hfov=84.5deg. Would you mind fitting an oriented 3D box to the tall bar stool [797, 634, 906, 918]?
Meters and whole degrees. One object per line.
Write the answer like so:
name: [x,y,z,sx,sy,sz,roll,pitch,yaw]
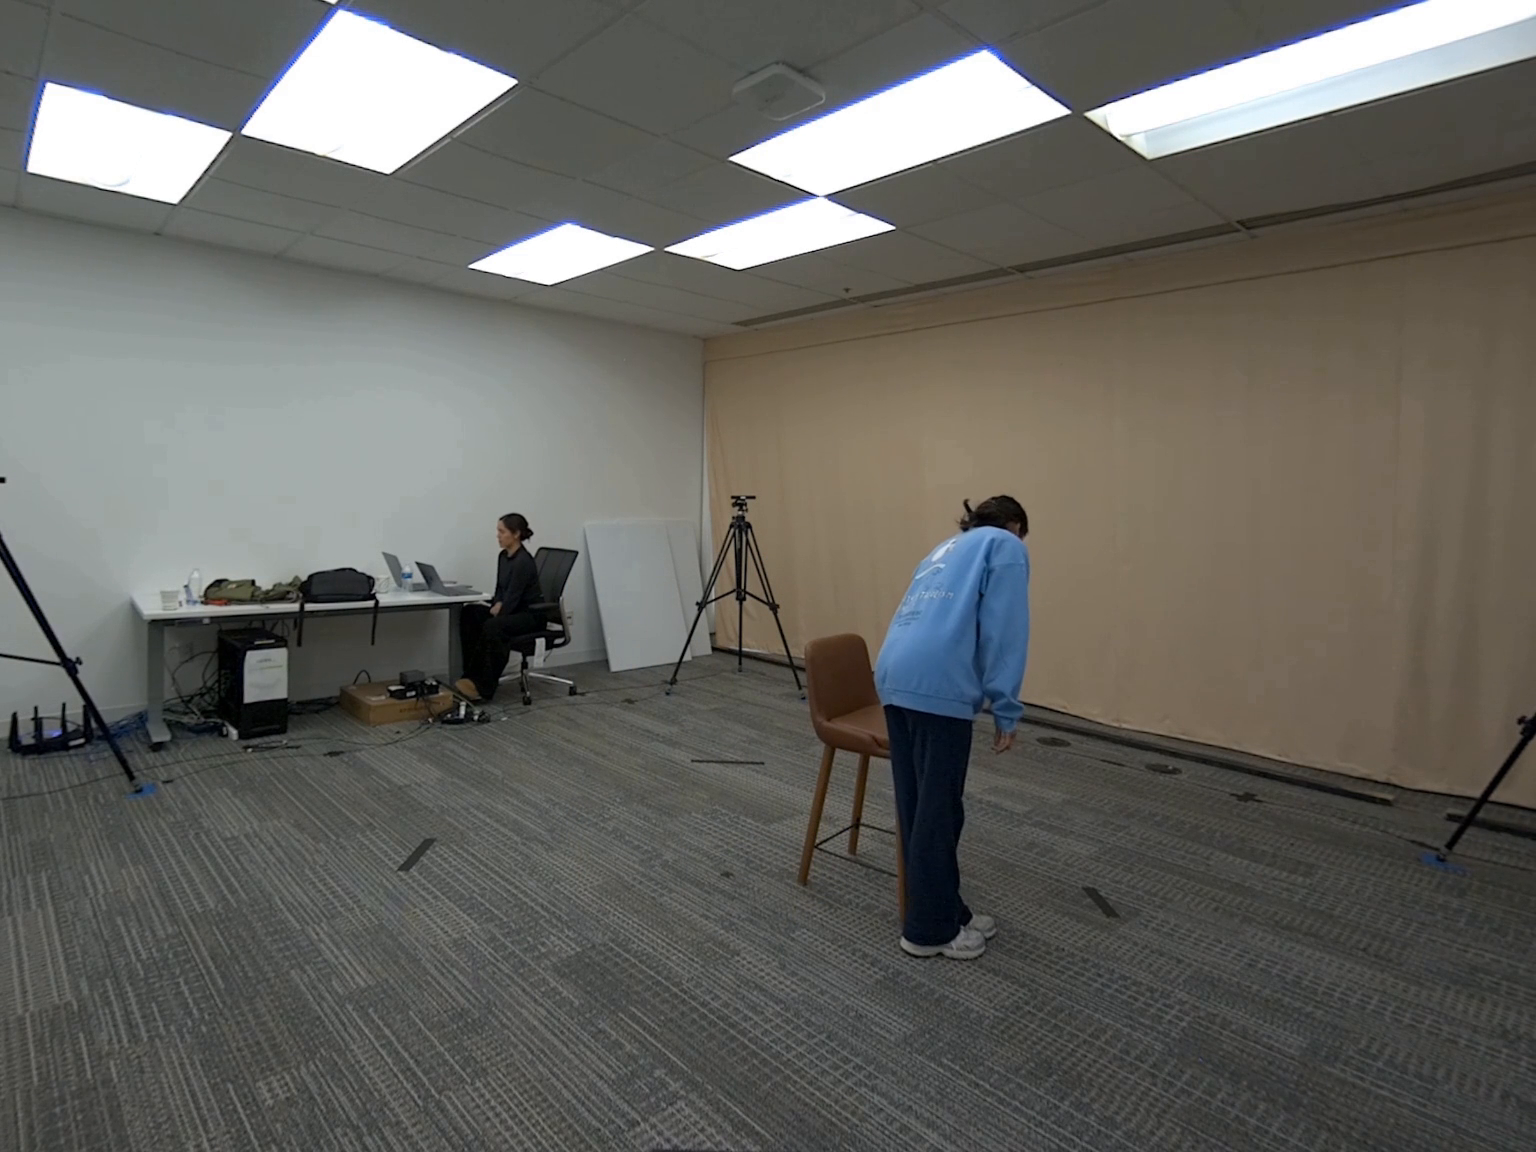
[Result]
tall bar stool: [0.400,0.686,3.033,0.479,0.888,0.446,2,3,38]
